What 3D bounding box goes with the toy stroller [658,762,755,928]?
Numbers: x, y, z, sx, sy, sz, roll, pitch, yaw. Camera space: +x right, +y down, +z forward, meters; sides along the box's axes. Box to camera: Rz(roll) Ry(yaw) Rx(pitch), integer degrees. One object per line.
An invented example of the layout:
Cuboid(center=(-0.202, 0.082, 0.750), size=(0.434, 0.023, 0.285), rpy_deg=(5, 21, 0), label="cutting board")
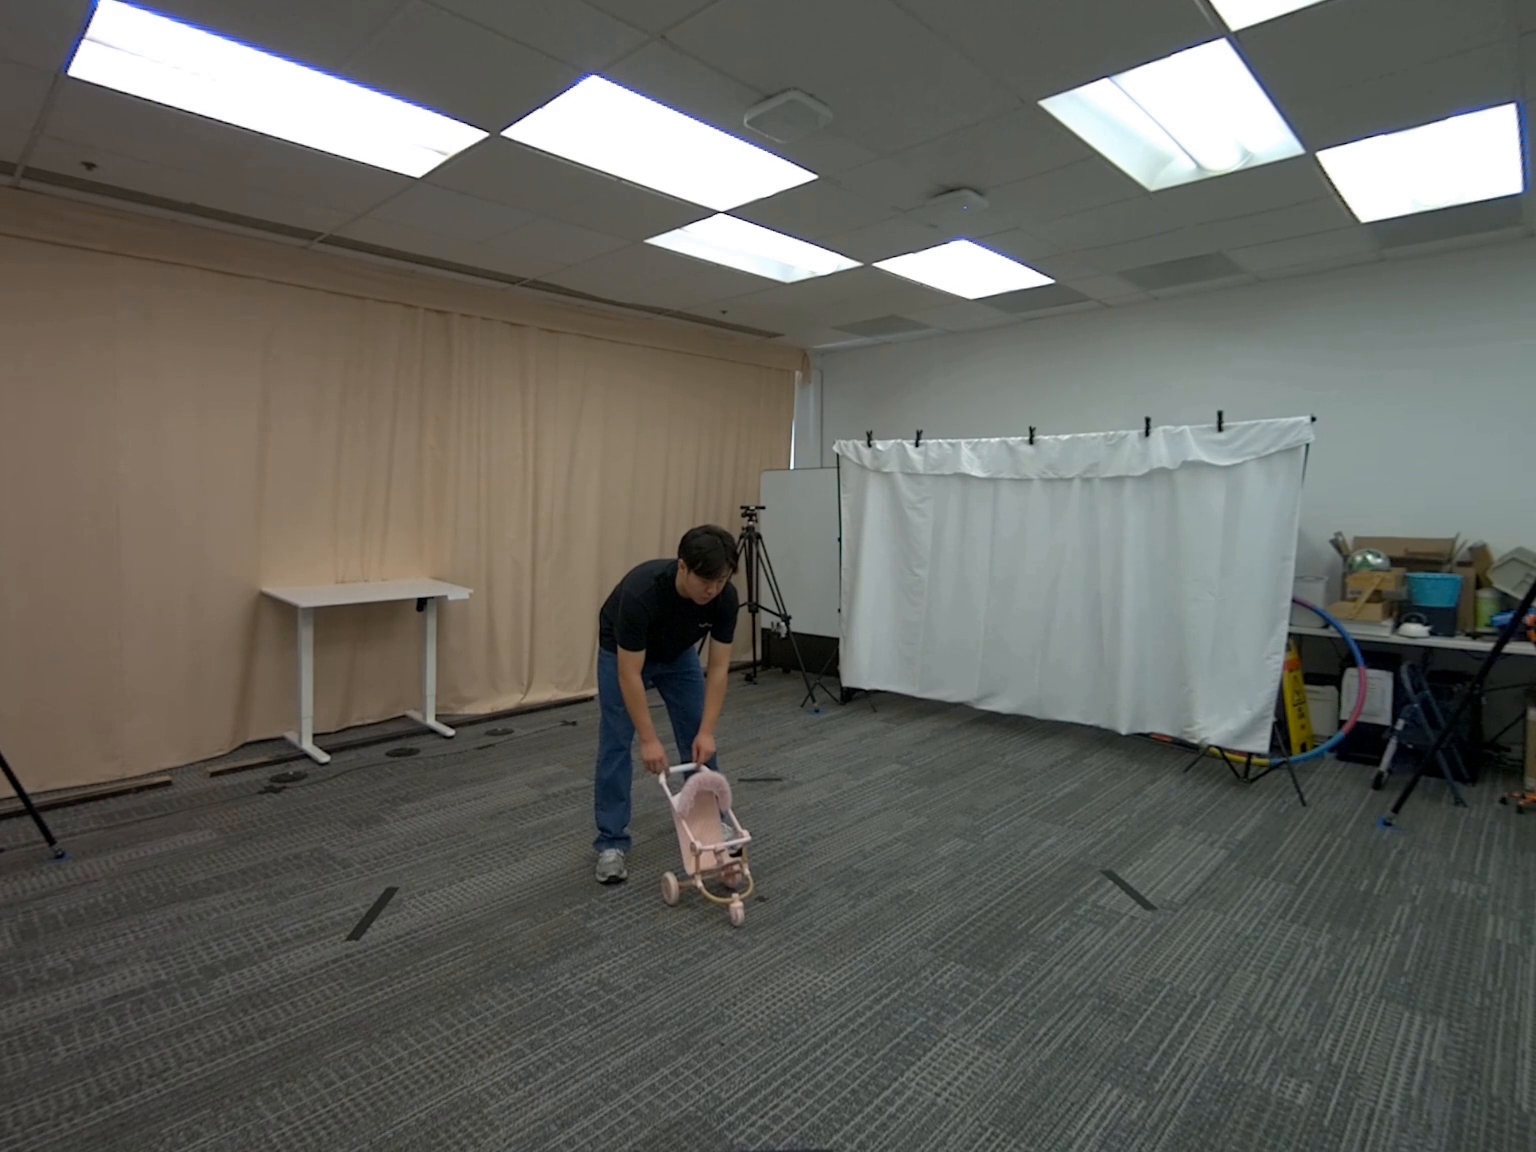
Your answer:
Cuboid(center=(-0.202, 0.924, 2.947), size=(0.274, 0.540, 0.347), rpy_deg=(-2, -13, -27), label="toy stroller")
